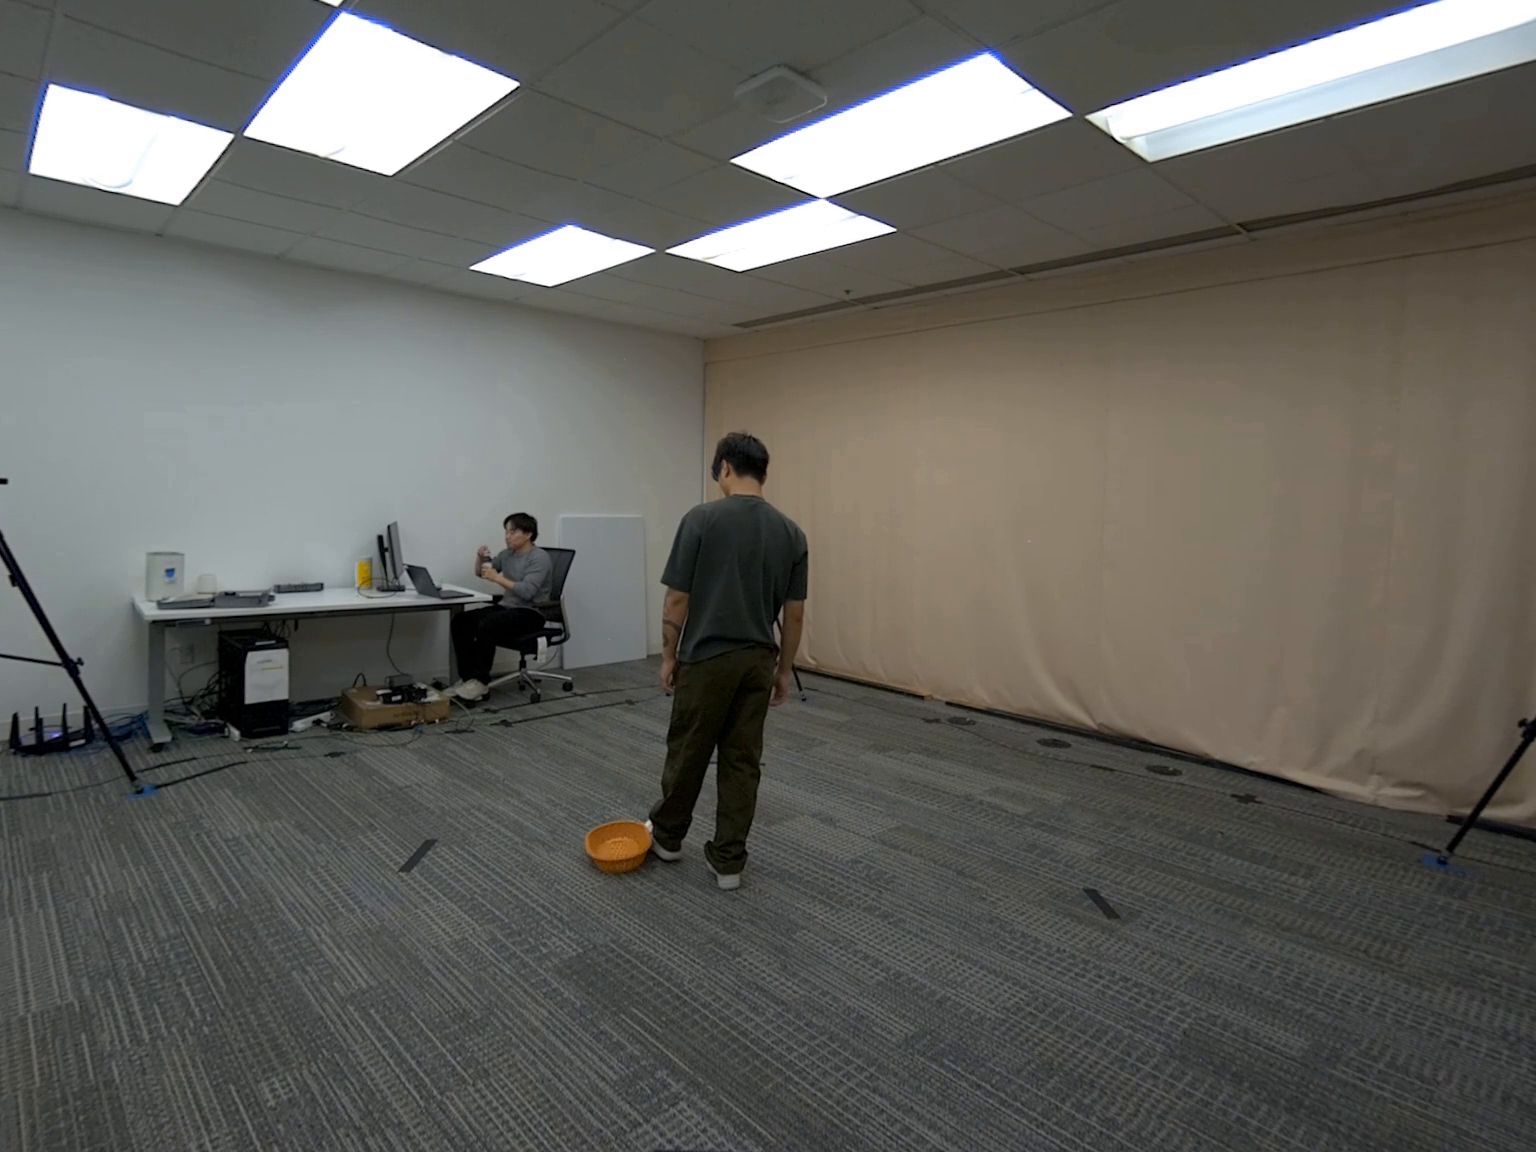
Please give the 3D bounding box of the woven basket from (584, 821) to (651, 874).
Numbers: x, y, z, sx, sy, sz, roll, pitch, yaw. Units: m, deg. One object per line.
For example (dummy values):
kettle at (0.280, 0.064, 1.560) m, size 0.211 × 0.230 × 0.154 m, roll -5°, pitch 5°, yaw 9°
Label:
woven basket at (-0.580, 1.038, 3.226) m, size 0.250 × 0.073 × 0.355 m, roll -5°, pitch 7°, yaw -14°
